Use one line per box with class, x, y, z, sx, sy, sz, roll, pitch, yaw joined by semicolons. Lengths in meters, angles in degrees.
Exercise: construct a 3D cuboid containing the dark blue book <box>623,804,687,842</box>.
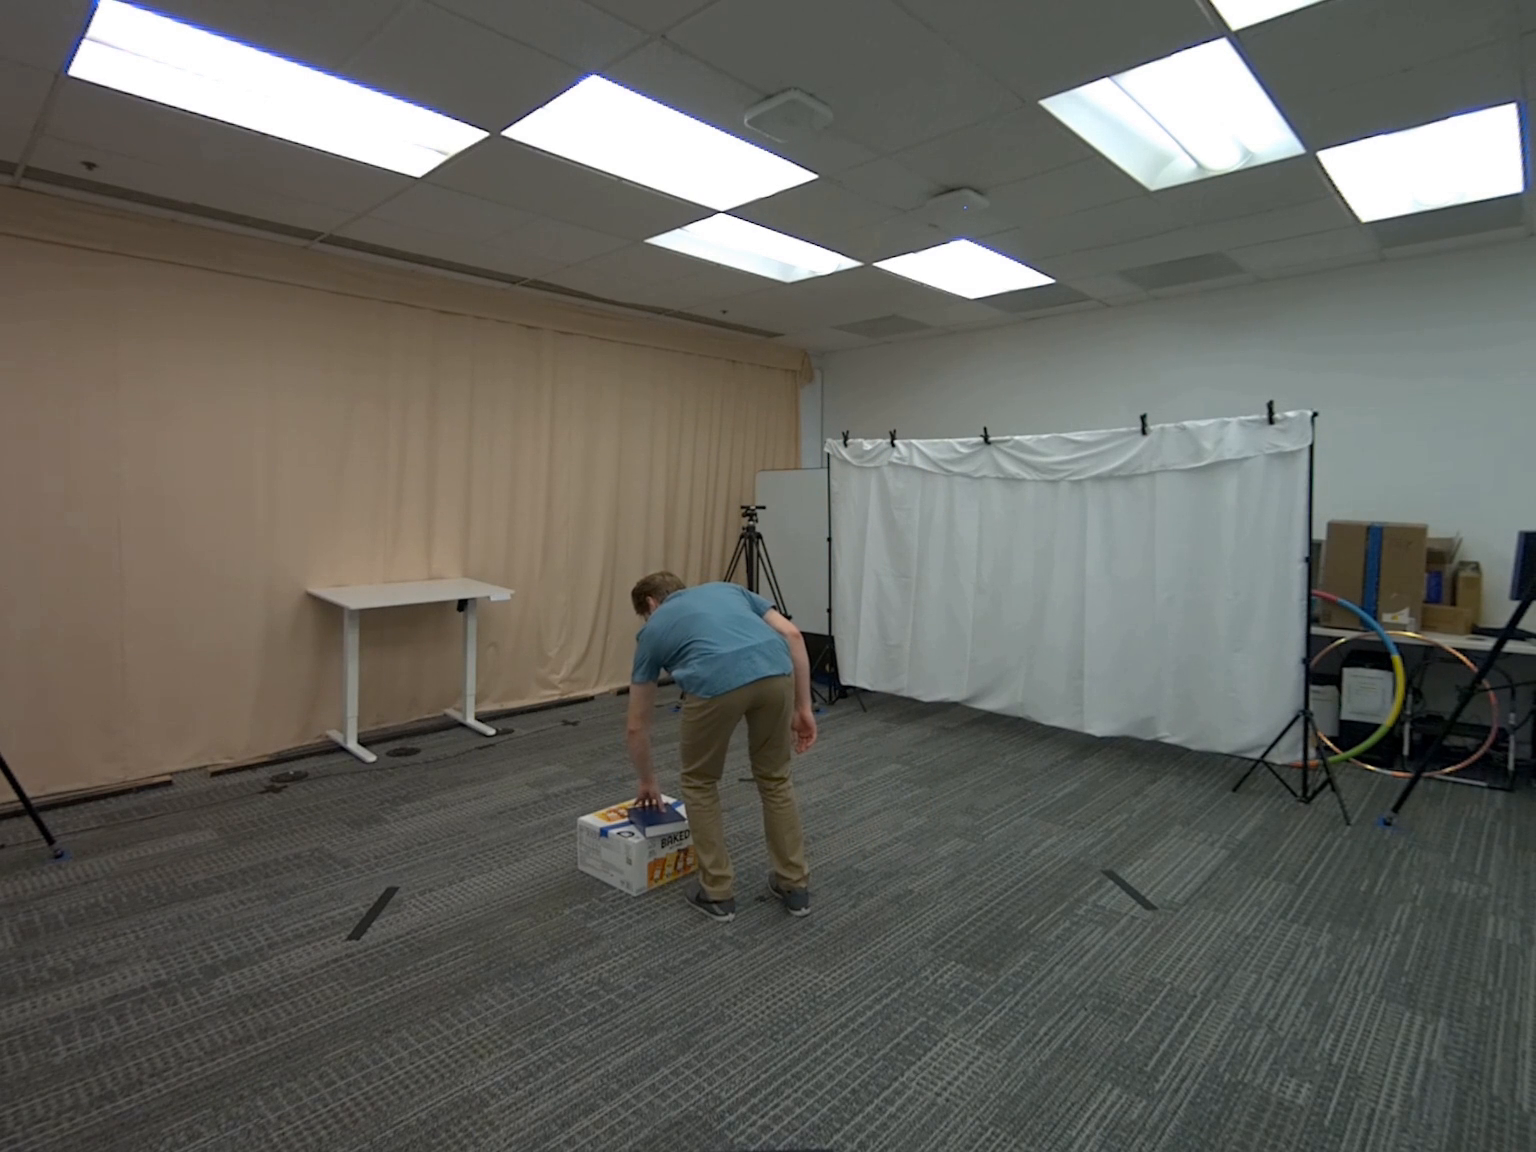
dark blue book;-0.426;0.917;3.159;0.160;0.045;0.251;-4;1;-24
